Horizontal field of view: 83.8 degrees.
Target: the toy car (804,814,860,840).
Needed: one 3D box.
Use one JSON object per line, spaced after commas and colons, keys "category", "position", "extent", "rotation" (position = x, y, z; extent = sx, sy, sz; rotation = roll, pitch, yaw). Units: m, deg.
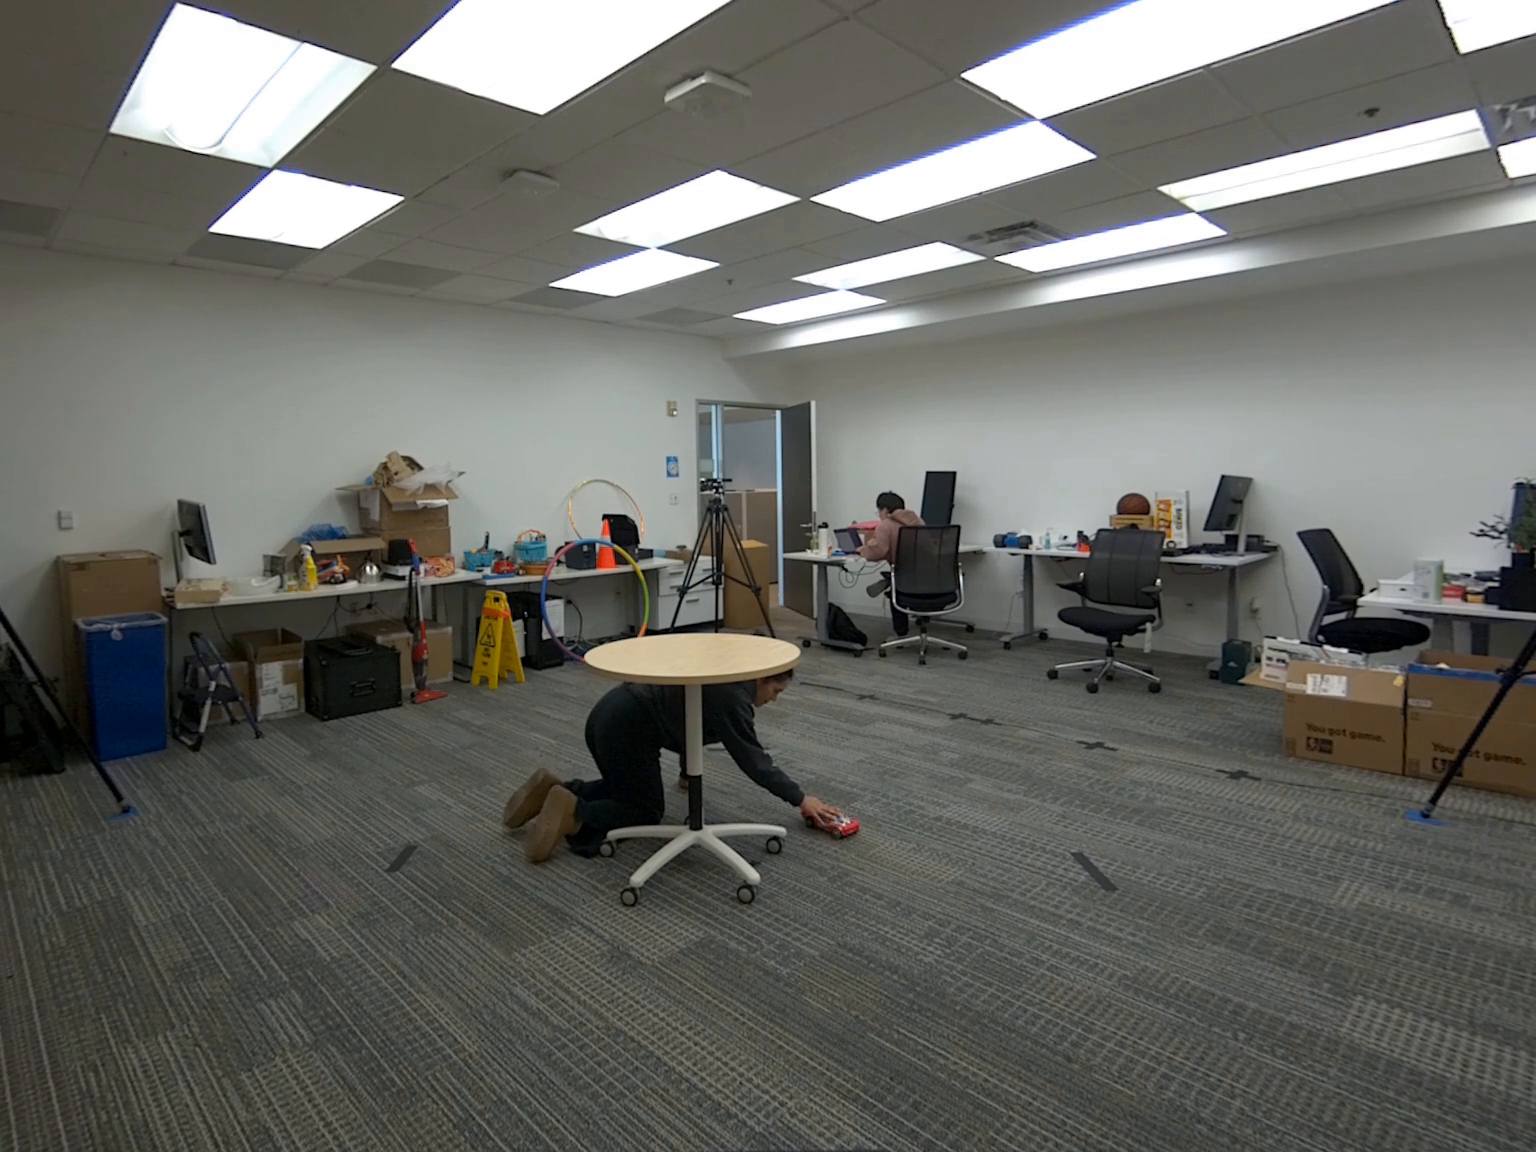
{"category": "toy car", "position": [0.240, 0.968, 3.390], "extent": [0.127, 0.082, 0.264], "rotation": [-7, 19, -40]}
